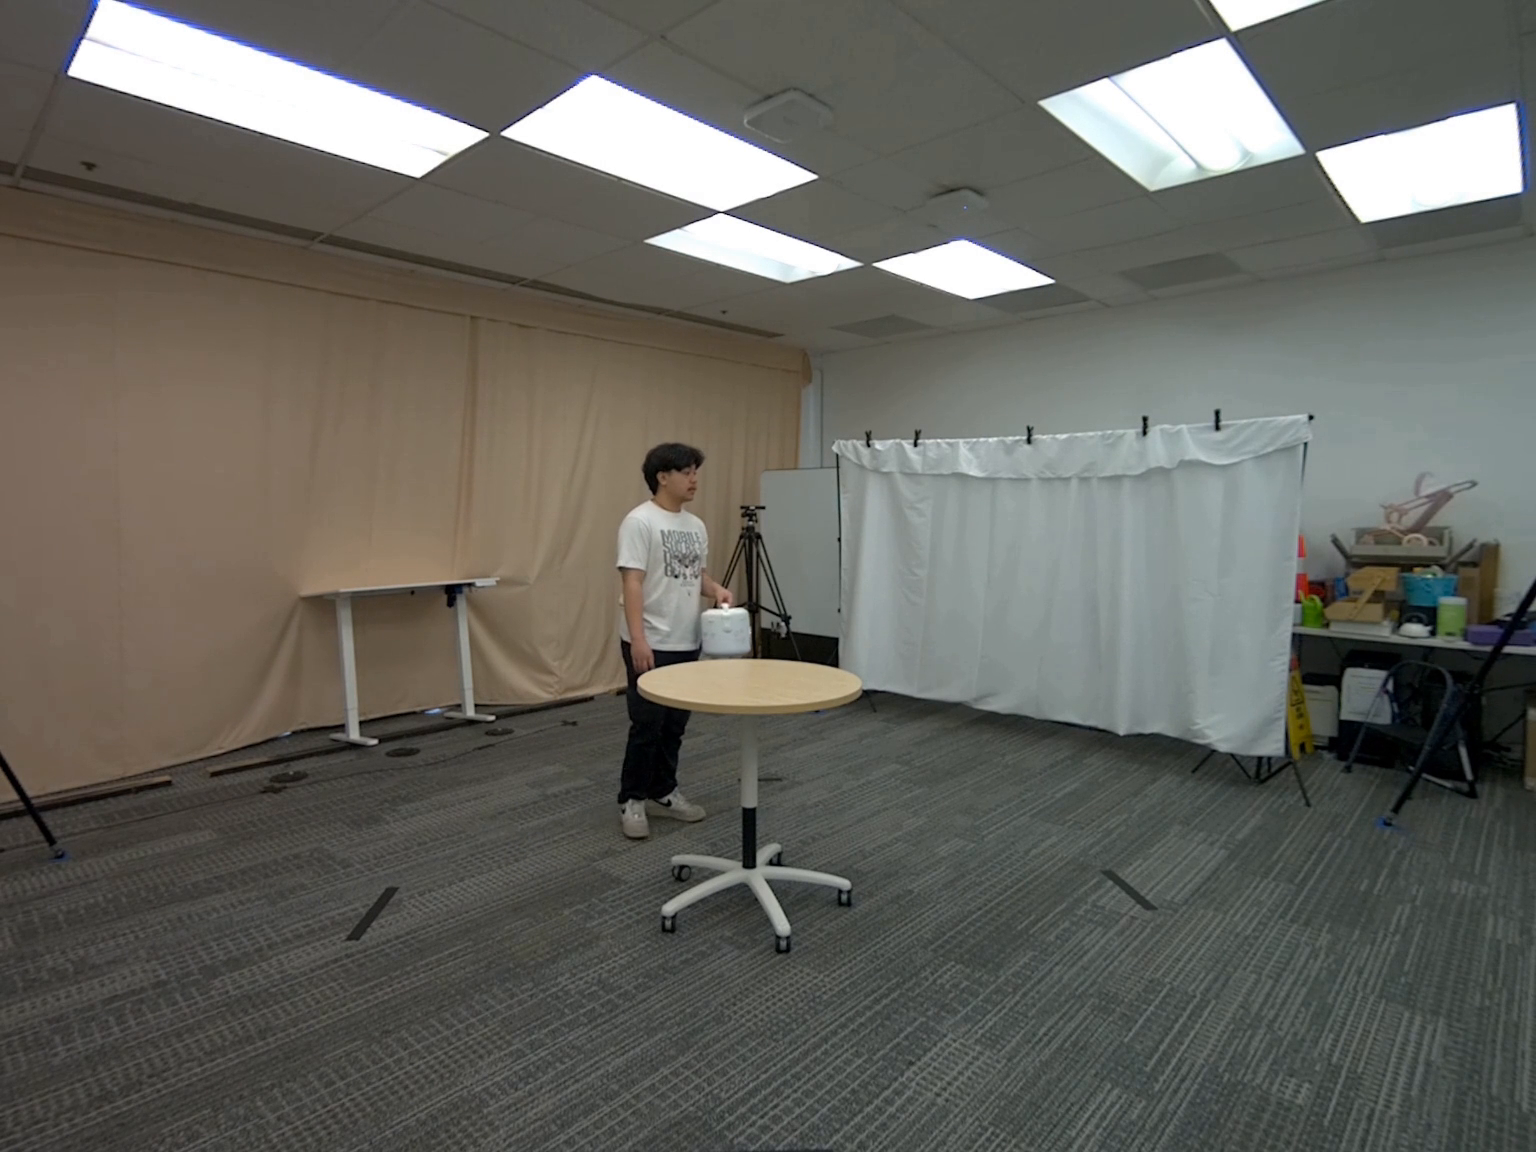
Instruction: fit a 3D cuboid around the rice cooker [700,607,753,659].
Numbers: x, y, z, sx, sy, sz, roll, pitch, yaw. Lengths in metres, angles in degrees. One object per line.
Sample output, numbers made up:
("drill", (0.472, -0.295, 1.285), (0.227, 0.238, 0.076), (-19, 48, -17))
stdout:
("rice cooker", (-0.187, 0.235, 3.678), (0.217, 0.233, 0.221), (-3, -2, -4))
